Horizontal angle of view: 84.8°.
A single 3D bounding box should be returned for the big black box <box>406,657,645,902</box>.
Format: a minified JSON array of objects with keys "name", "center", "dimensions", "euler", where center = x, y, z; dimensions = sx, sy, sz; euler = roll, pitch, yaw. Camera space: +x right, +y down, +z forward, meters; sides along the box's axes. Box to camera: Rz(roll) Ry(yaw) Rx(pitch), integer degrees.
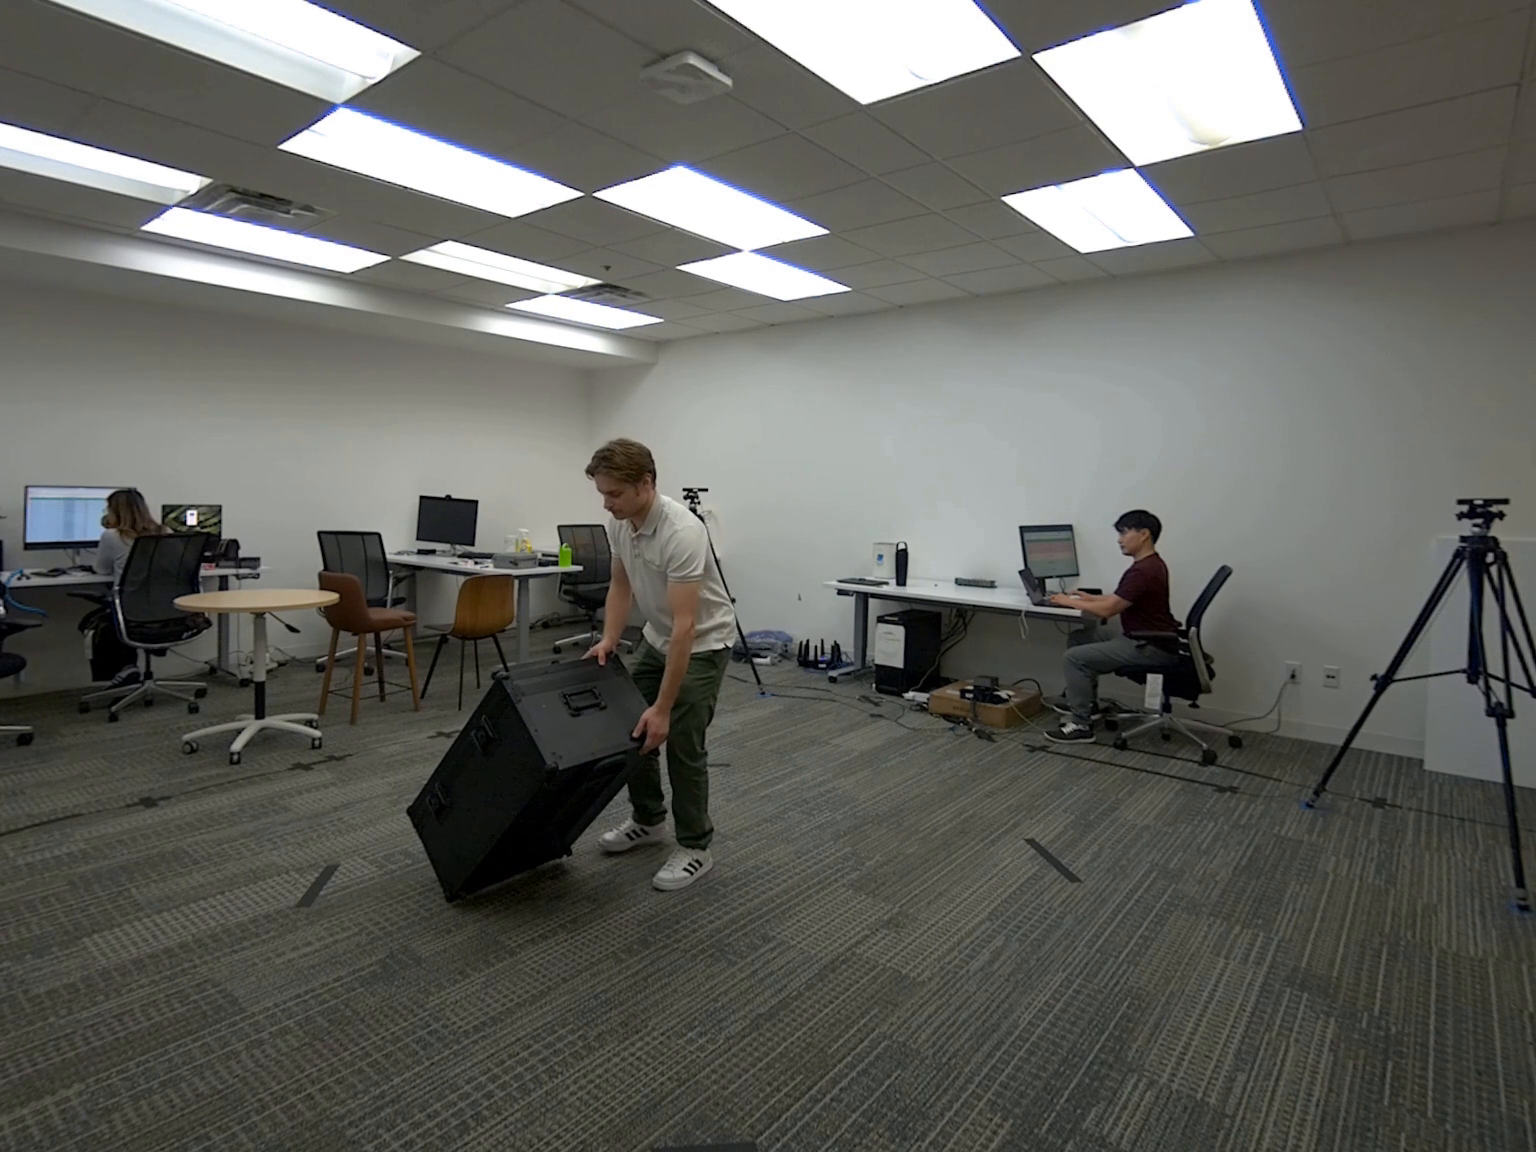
[{"name":"big black box","center":[-0.815,0.693,2.879],"dimensions":[0.508,0.398,0.866],"euler":[-6,-38,-51]}]
